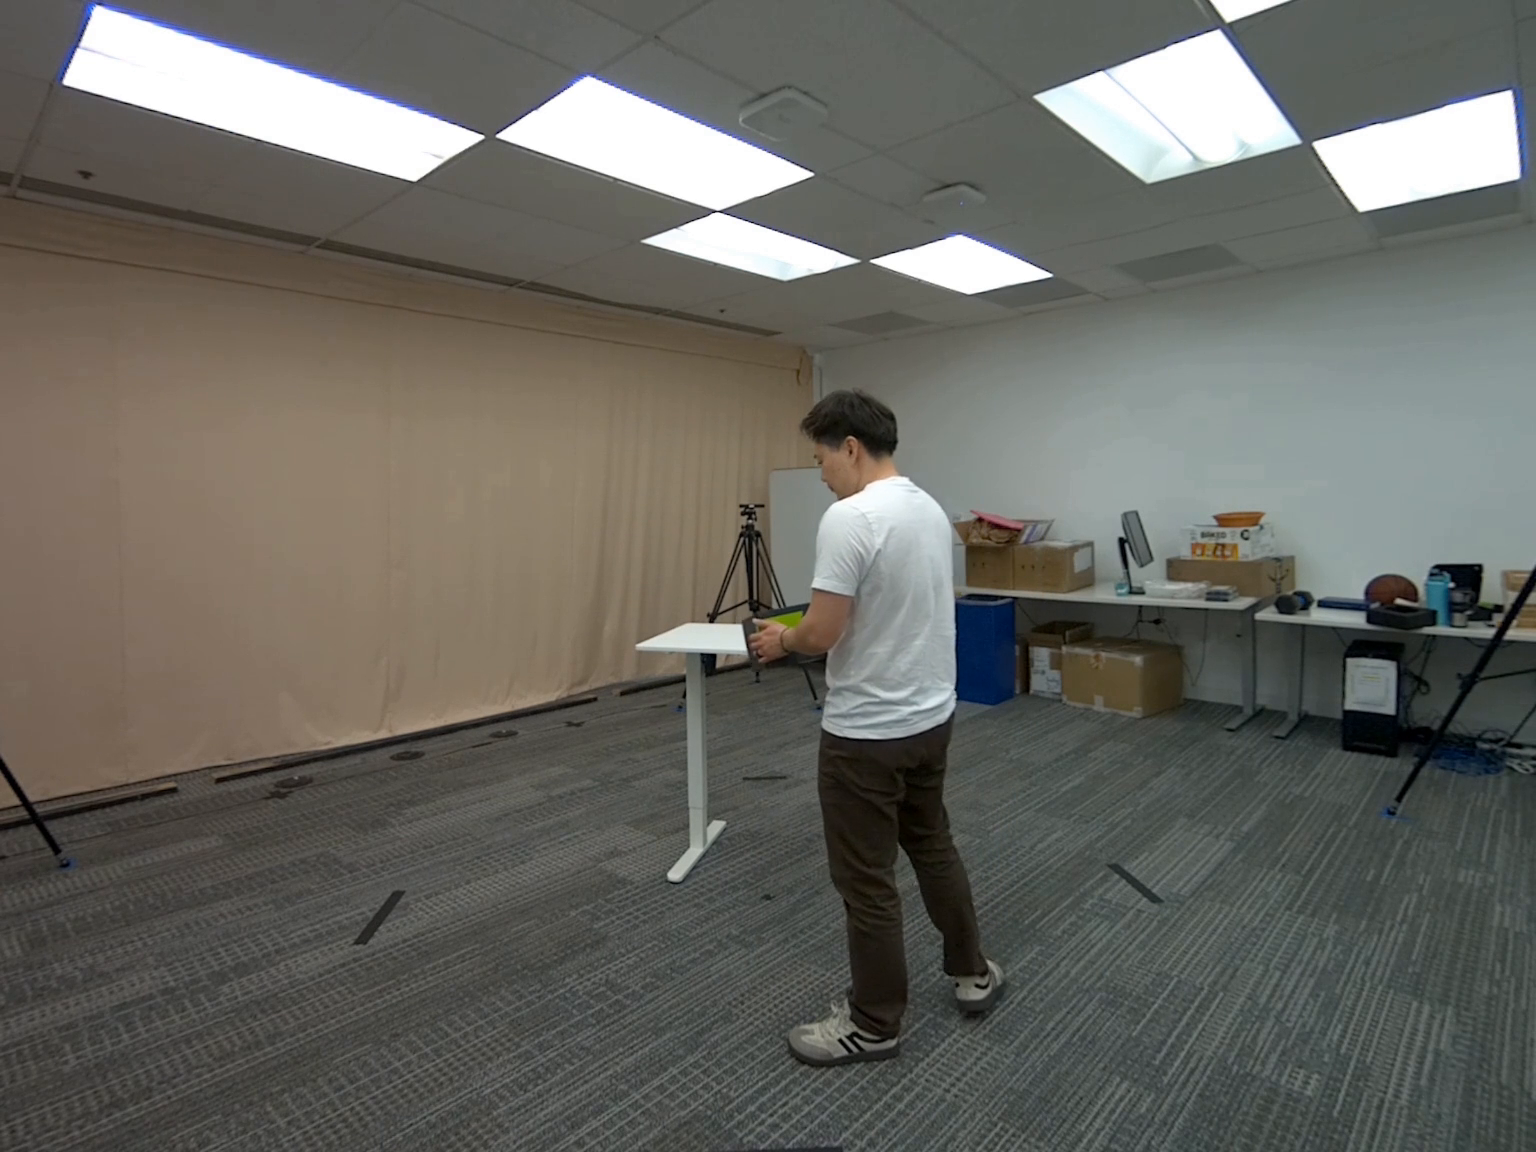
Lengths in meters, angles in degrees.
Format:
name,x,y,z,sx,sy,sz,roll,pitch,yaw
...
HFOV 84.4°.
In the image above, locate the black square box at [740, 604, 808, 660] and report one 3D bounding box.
name,x,y,z,sx,sy,sz,roll,pitch,yaw
black square box,0.077,0.169,2.388,0.225,0.157,0.218,-10,-6,-12
